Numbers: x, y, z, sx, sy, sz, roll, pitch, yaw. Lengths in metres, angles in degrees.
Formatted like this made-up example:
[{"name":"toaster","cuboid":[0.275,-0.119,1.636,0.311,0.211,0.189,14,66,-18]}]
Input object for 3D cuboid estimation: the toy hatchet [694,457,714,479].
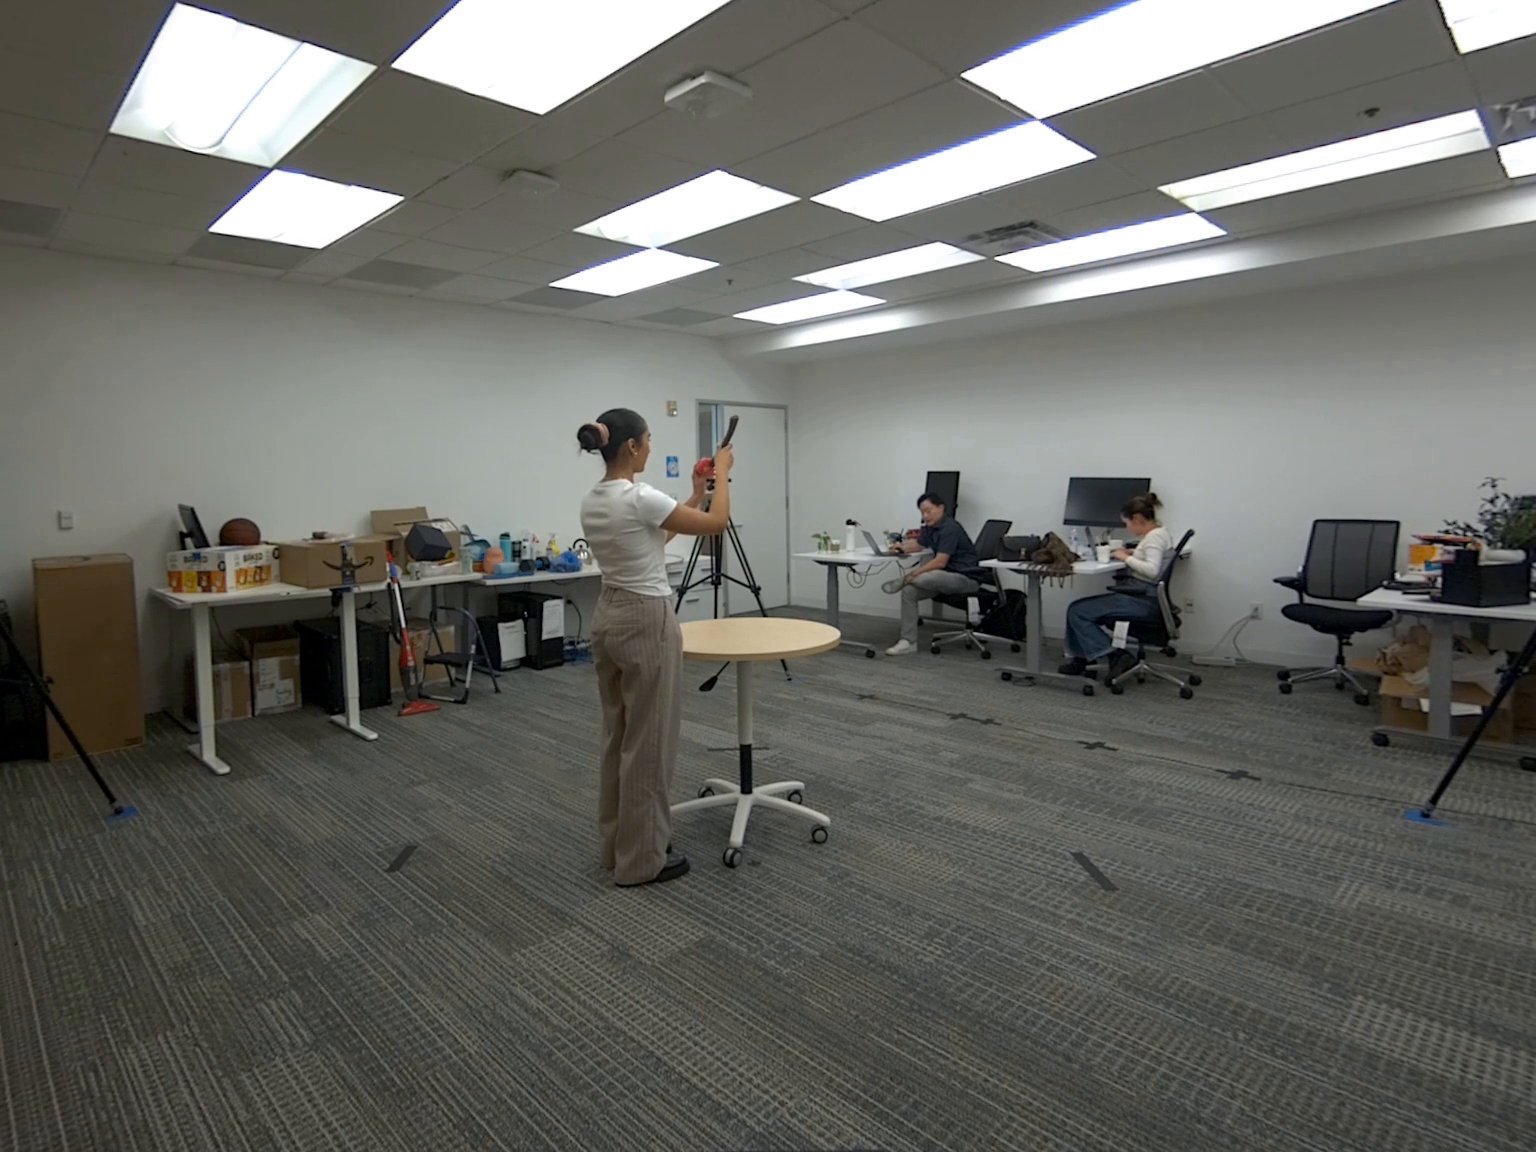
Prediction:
[{"name":"toy hatchet","cuboid":[-0.195,-0.475,3.175,0.128,0.266,0.031,-16,46,-40]}]
